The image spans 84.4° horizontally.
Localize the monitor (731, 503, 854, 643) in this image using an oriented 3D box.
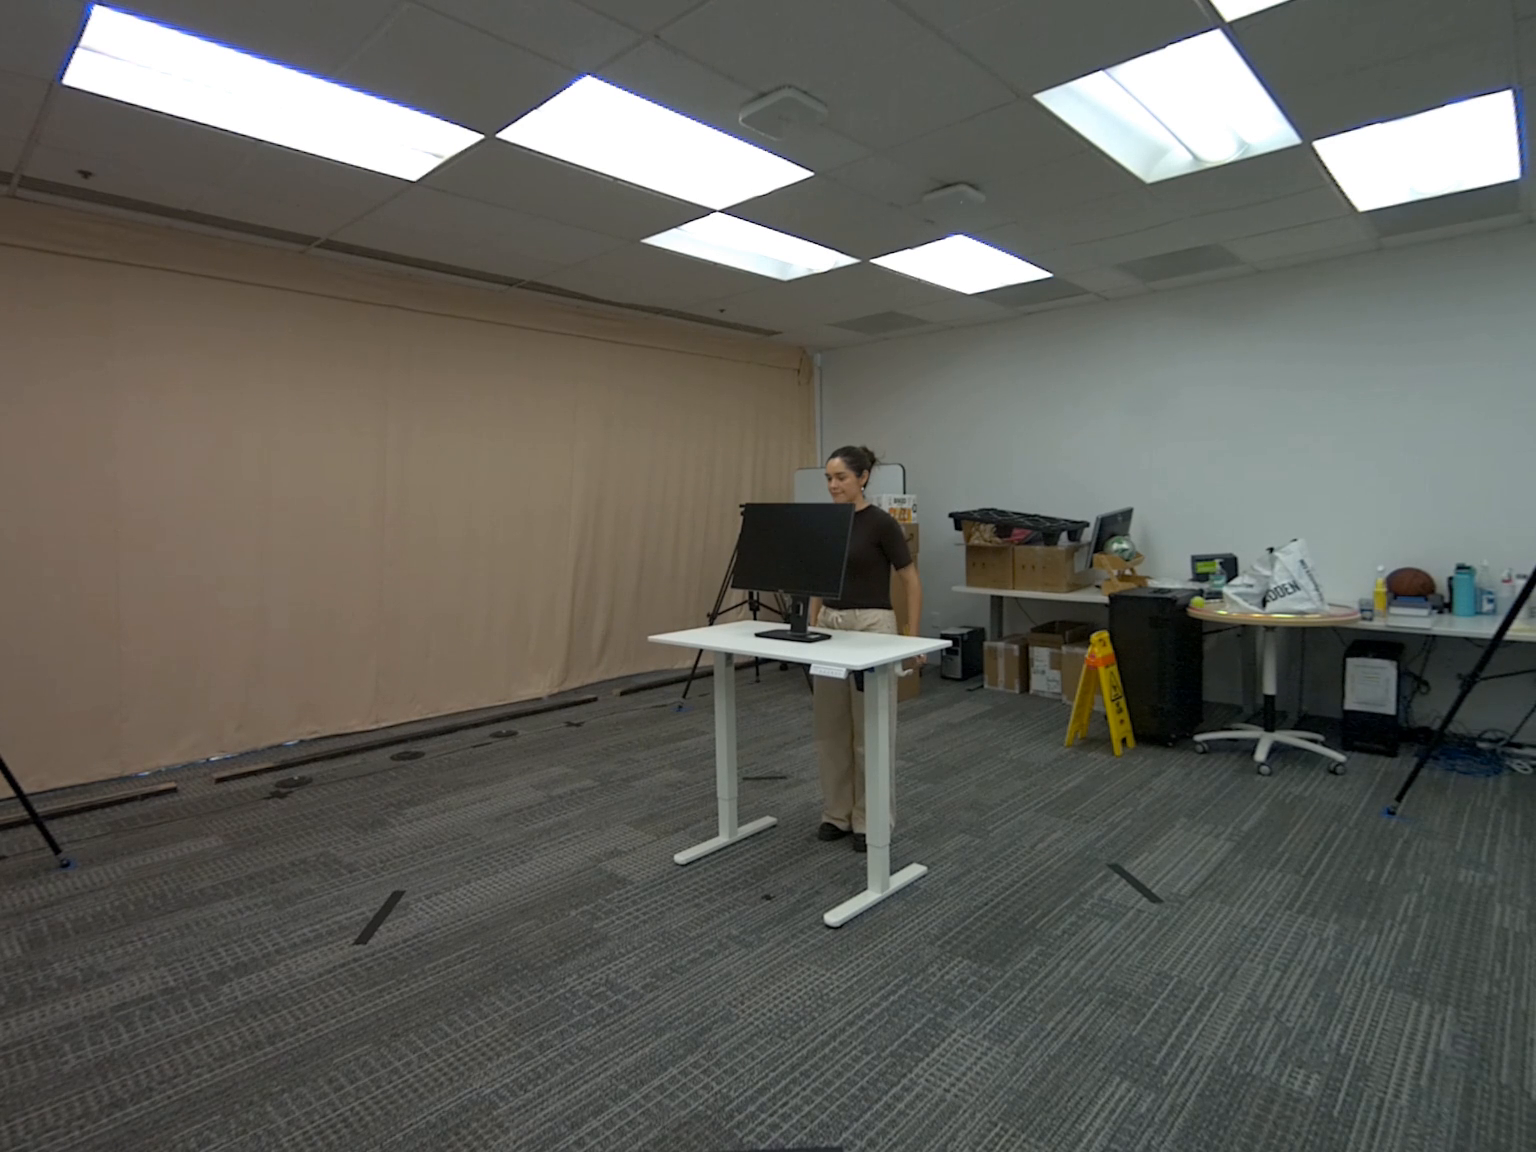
[{"bbox_3d":[0.106,-0.017,3.214,0.557,0.522,0.181,3,3,41],"label":"monitor"}]
